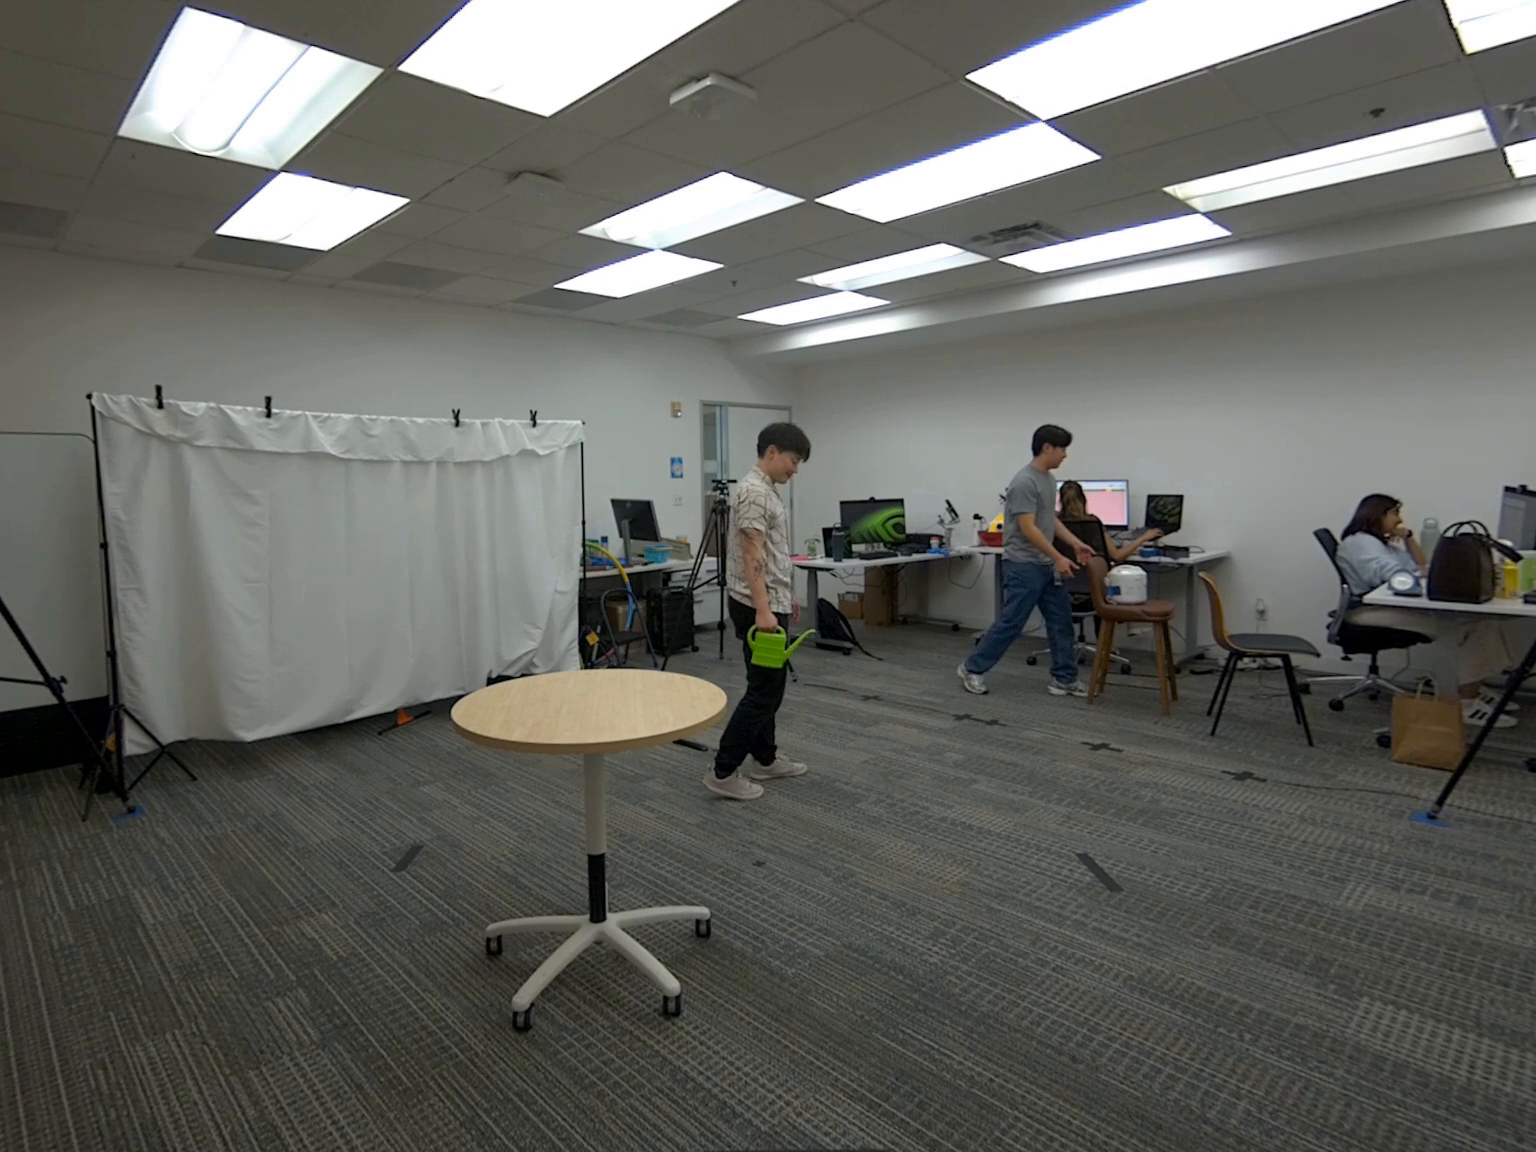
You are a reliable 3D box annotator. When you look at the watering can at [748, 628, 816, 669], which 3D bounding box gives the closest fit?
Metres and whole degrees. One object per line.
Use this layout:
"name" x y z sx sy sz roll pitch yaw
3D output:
"watering can" 0.045 0.298 3.570 0.281 0.176 0.097 8 2 8
